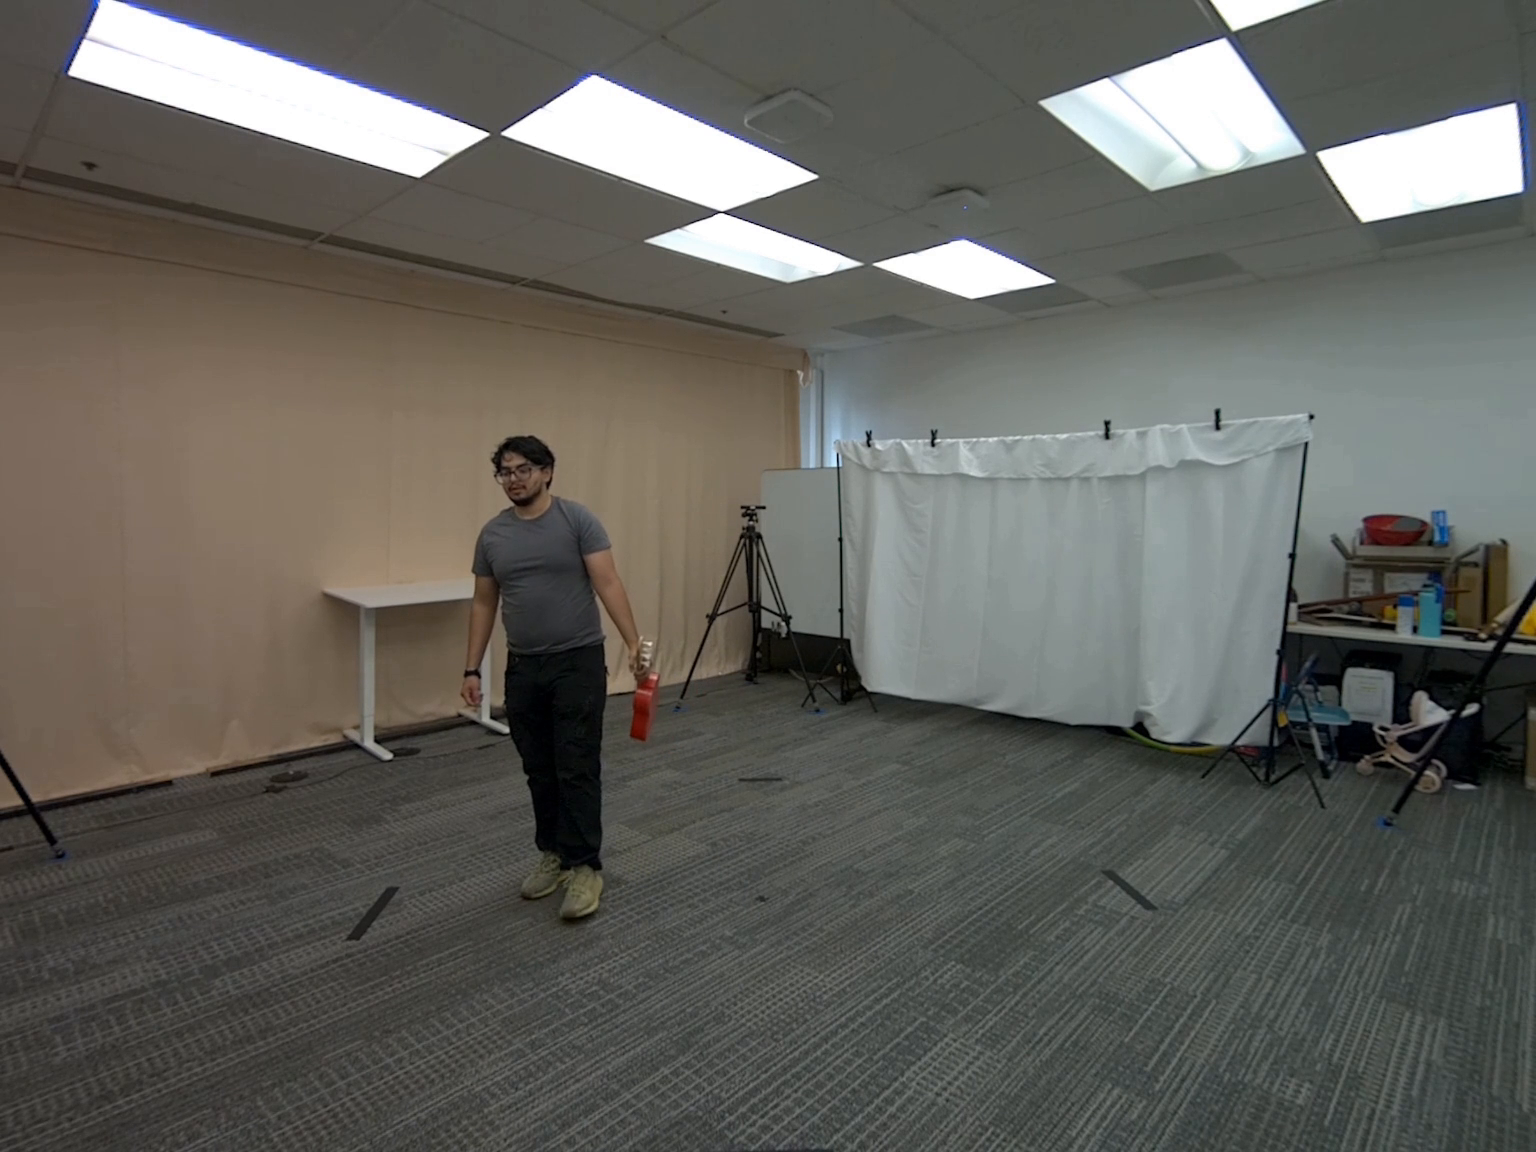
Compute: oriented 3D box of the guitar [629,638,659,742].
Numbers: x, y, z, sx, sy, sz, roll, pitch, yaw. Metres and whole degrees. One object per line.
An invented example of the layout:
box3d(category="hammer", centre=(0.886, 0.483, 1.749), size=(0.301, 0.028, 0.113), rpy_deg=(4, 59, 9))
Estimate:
box3d(category="guitar", centre=(-0.431, 0.400, 2.872), size=(0.071, 0.195, 0.492), rpy_deg=(13, -35, 0))
